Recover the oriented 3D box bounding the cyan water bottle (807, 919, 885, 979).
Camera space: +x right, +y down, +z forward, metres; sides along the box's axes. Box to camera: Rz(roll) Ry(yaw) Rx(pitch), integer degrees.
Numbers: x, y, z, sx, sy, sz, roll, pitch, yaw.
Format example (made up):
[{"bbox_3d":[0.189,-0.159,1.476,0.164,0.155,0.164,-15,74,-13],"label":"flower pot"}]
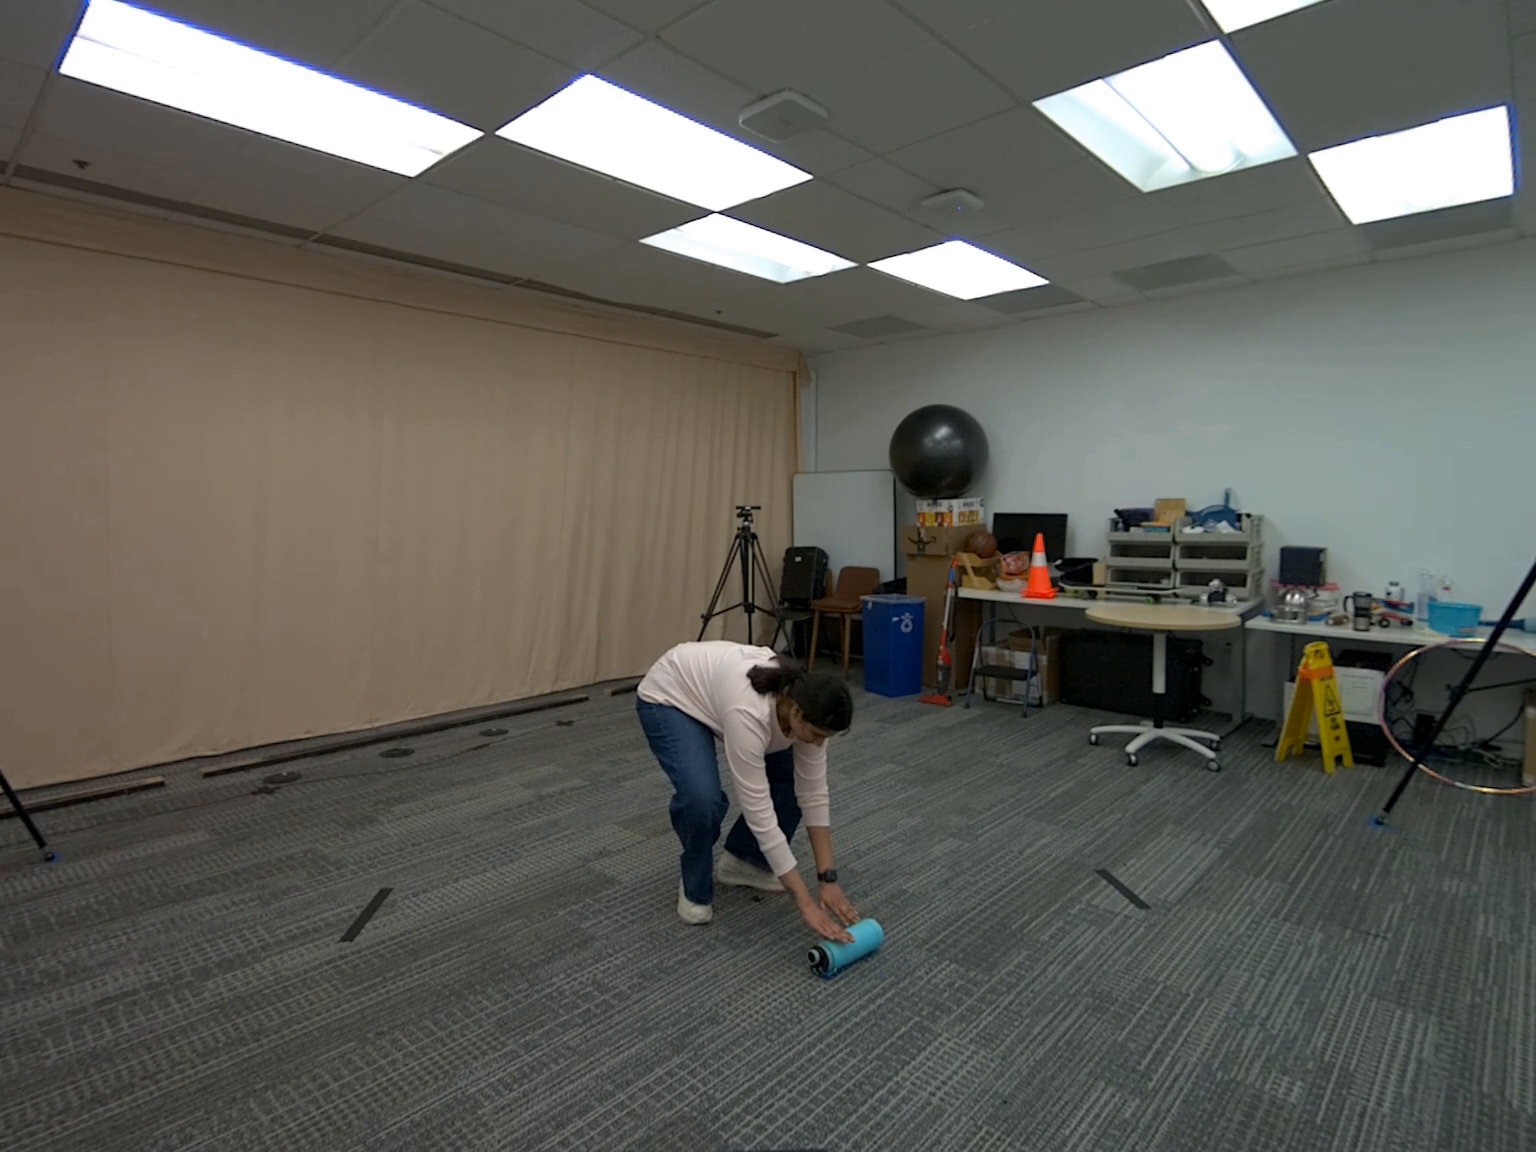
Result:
[{"bbox_3d":[0.235,1.127,2.565,0.275,0.092,0.095,-4,5,-42],"label":"cyan water bottle"}]
